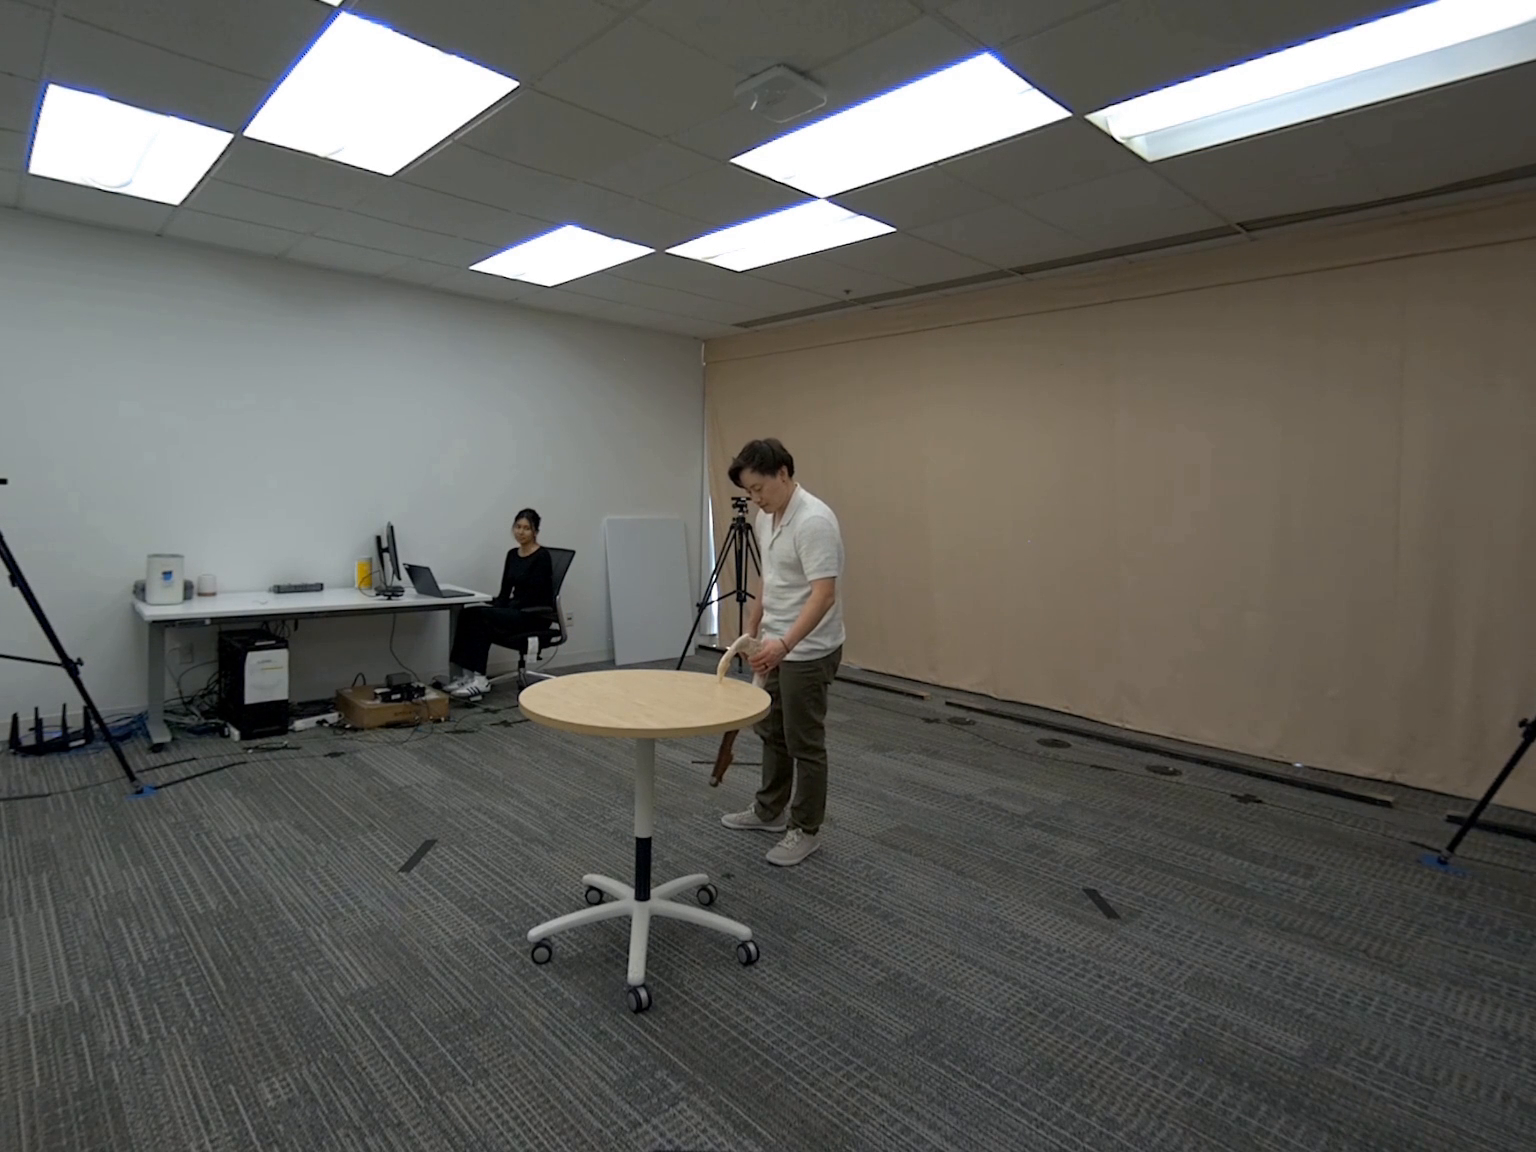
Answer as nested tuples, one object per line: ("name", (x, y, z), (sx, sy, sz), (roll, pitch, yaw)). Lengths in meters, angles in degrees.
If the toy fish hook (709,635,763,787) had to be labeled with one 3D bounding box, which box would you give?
("toy fish hook", (-0.138, 0.447, 2.809), (0.218, 0.510, 0.049), (36, -25, -34))
